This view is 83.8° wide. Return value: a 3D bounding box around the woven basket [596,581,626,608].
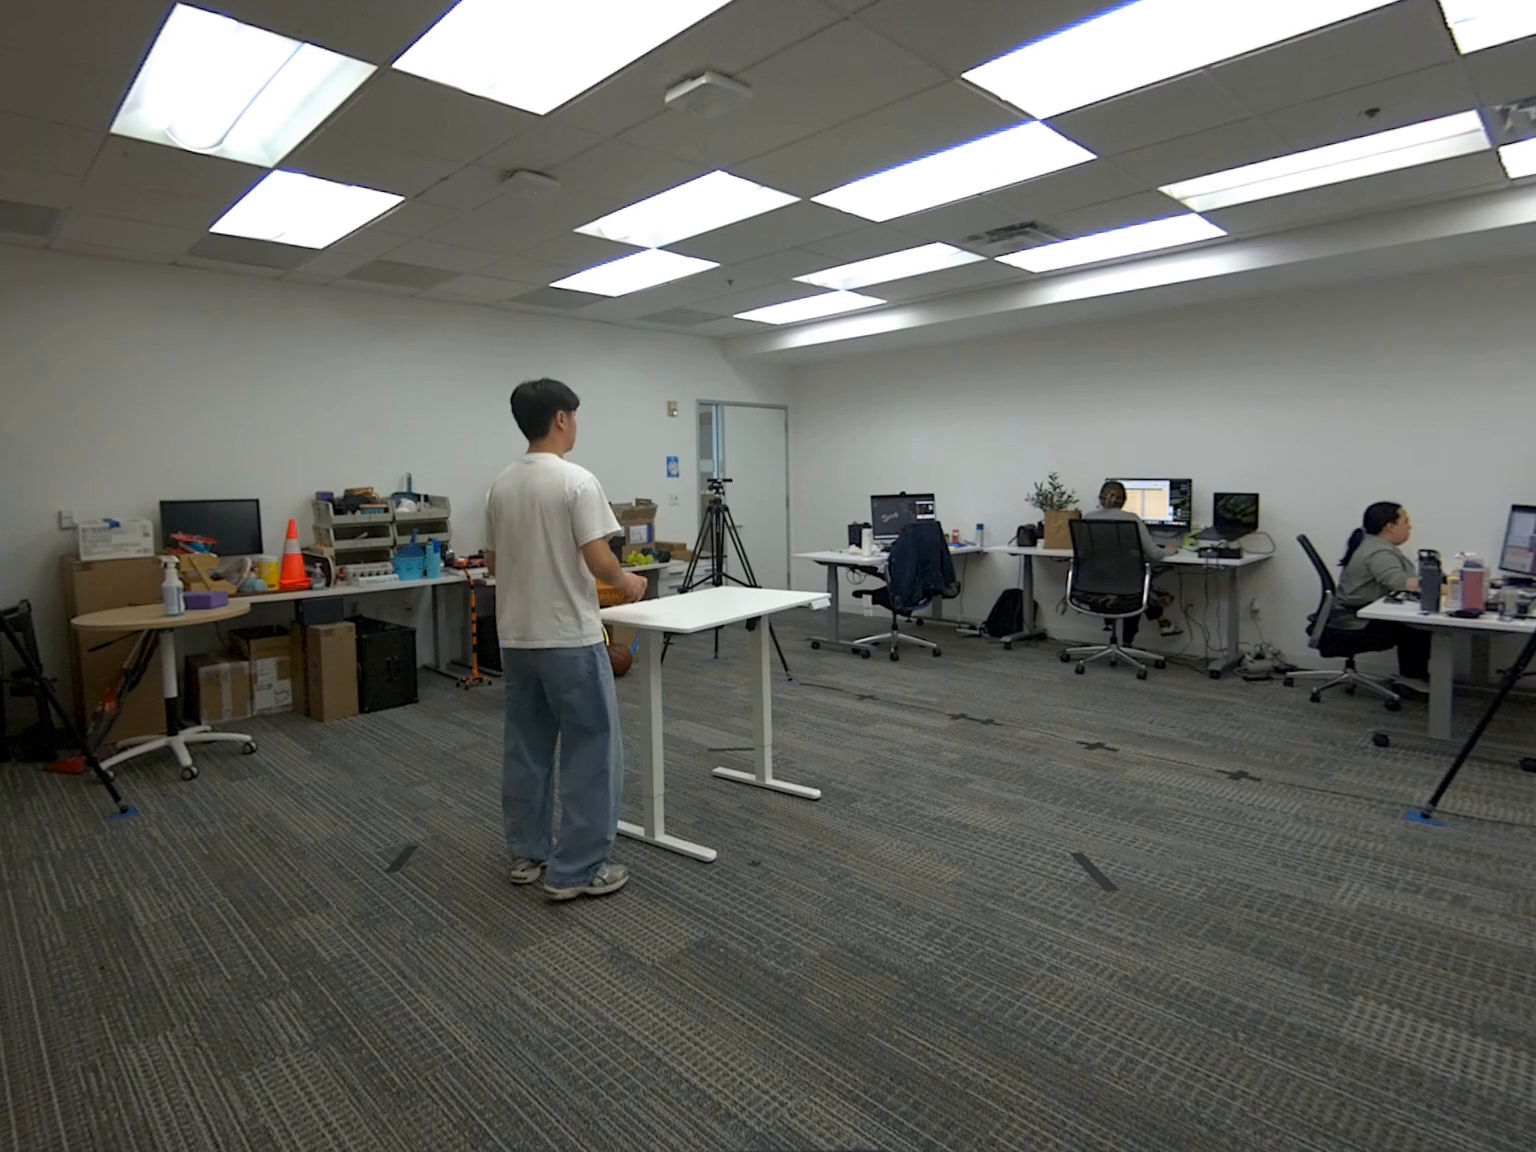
[{"bbox_3d":[-0.618,0.064,3.168,0.361,0.073,0.246,3,10,43],"label":"woven basket"}]
